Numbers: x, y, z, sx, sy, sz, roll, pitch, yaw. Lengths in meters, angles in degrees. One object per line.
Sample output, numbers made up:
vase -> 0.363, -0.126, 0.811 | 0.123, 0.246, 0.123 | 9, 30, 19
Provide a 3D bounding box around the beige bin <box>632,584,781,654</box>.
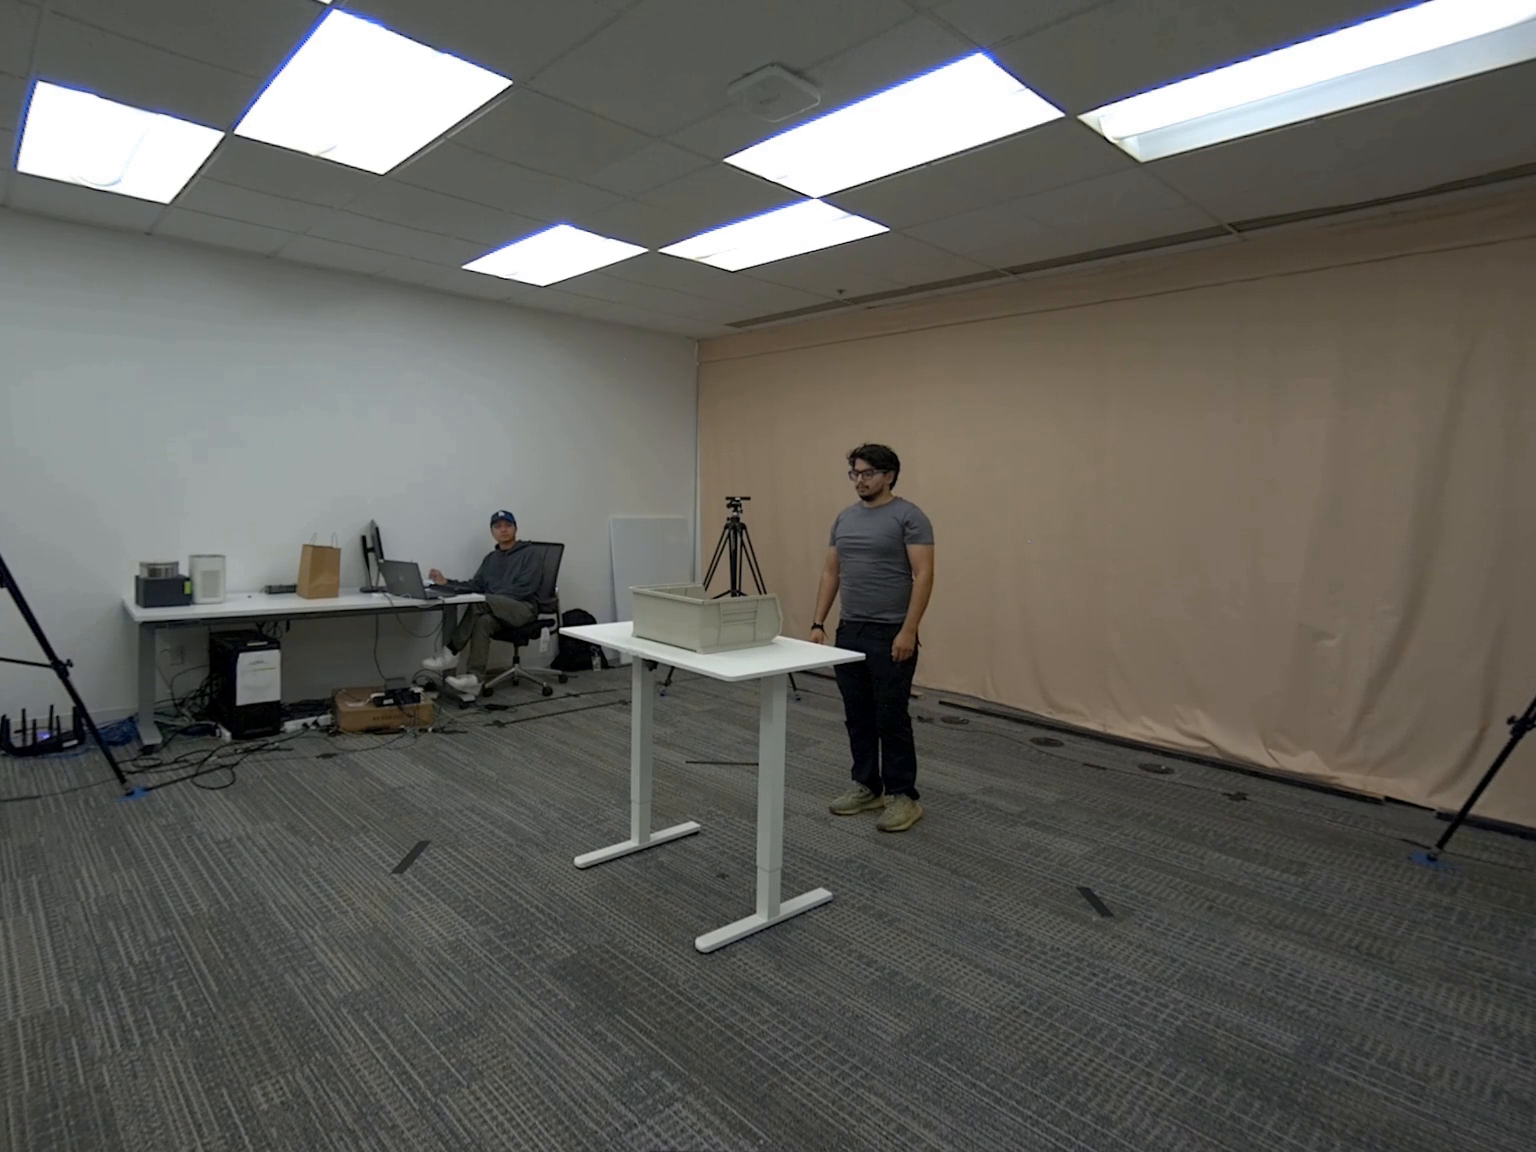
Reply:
beige bin -> -0.229, 0.142, 3.001 | 0.369, 0.188, 0.433 | -5, 9, -42
